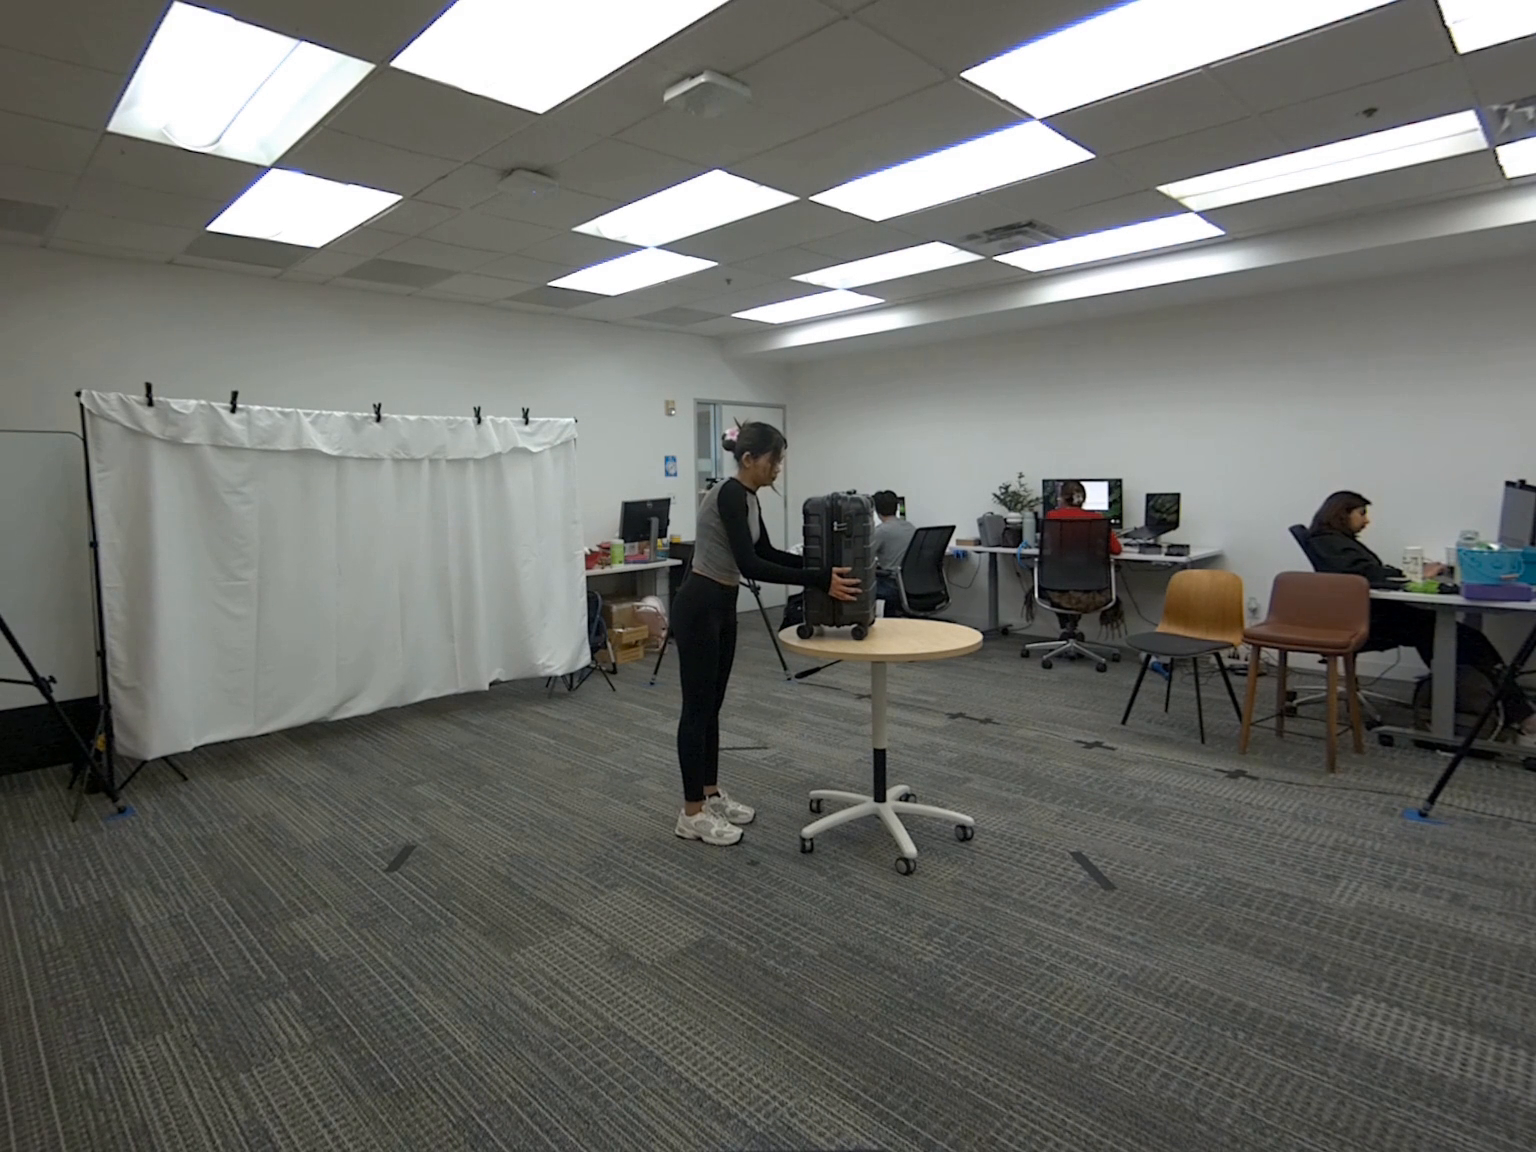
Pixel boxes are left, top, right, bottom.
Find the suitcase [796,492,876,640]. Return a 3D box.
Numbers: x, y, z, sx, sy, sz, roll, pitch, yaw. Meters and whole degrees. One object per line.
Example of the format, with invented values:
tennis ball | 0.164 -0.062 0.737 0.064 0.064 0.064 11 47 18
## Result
suitcase | 0.272 -0.056 3.298 0.252 0.547 0.372 0 5 13
